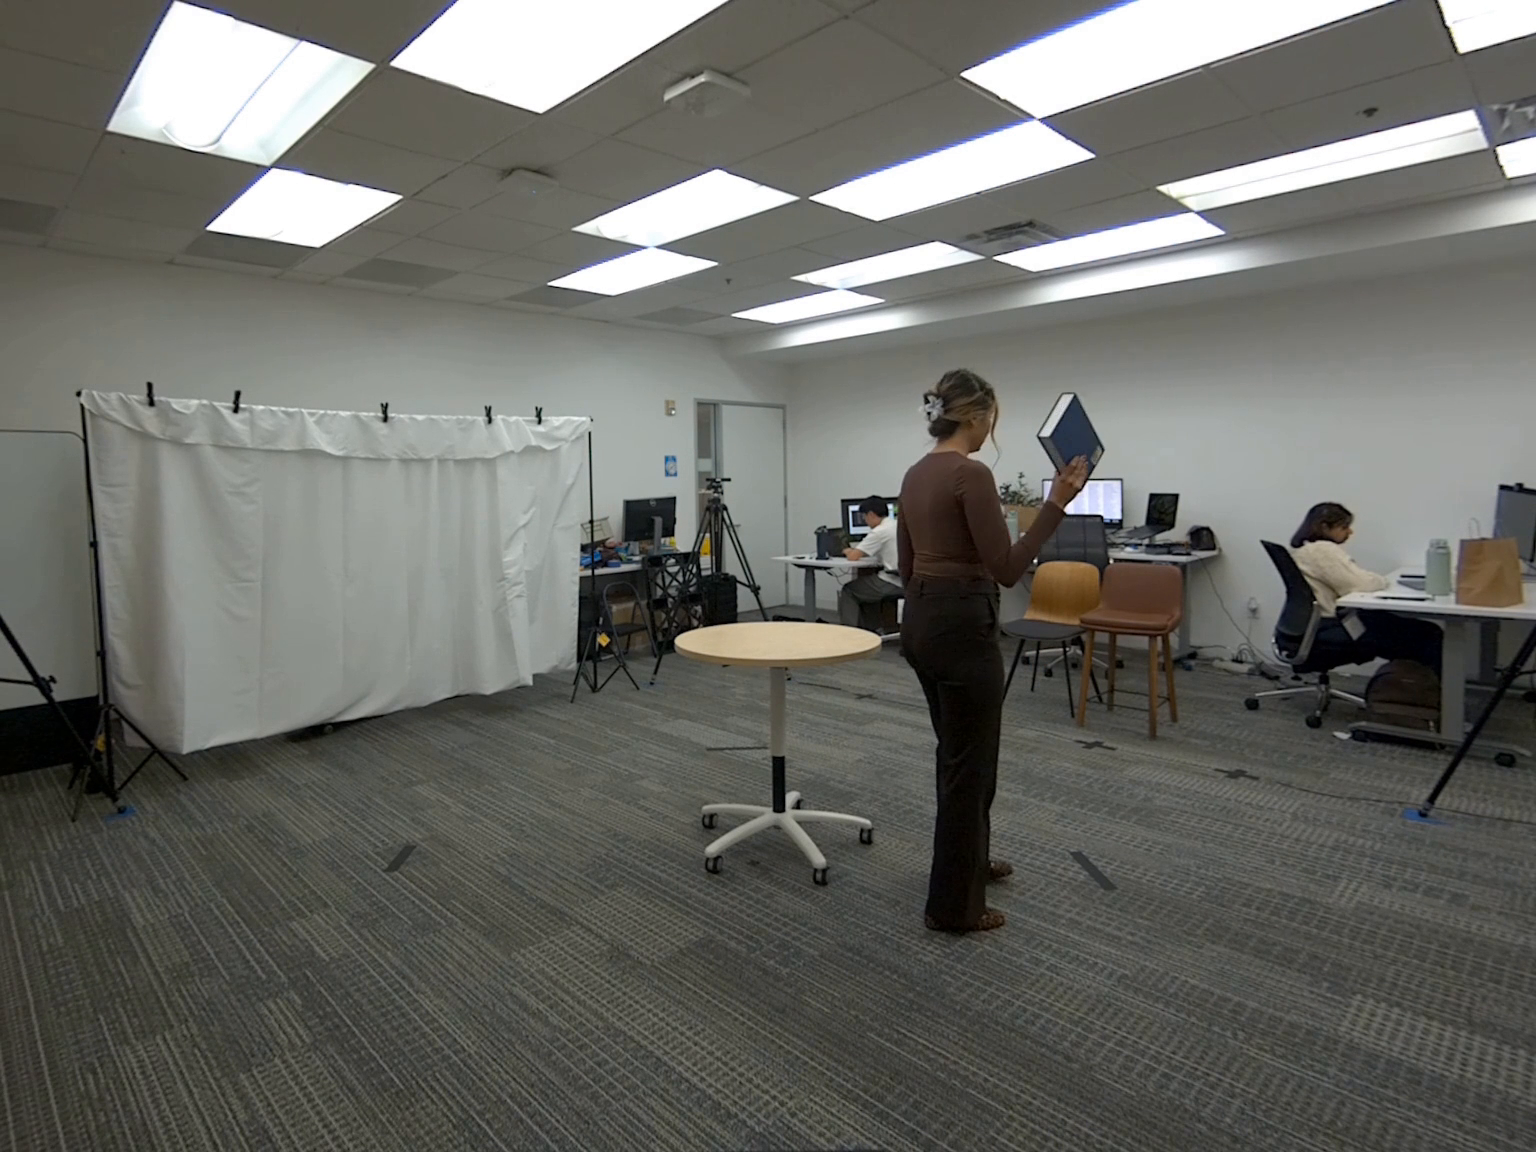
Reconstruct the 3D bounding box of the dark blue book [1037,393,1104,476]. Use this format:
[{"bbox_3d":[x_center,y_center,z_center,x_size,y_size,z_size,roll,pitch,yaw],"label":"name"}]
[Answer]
[{"bbox_3d":[0.863,-0.381,2.434,0.236,0.164,0.046,45,-18,-32],"label":"dark blue book"}]
